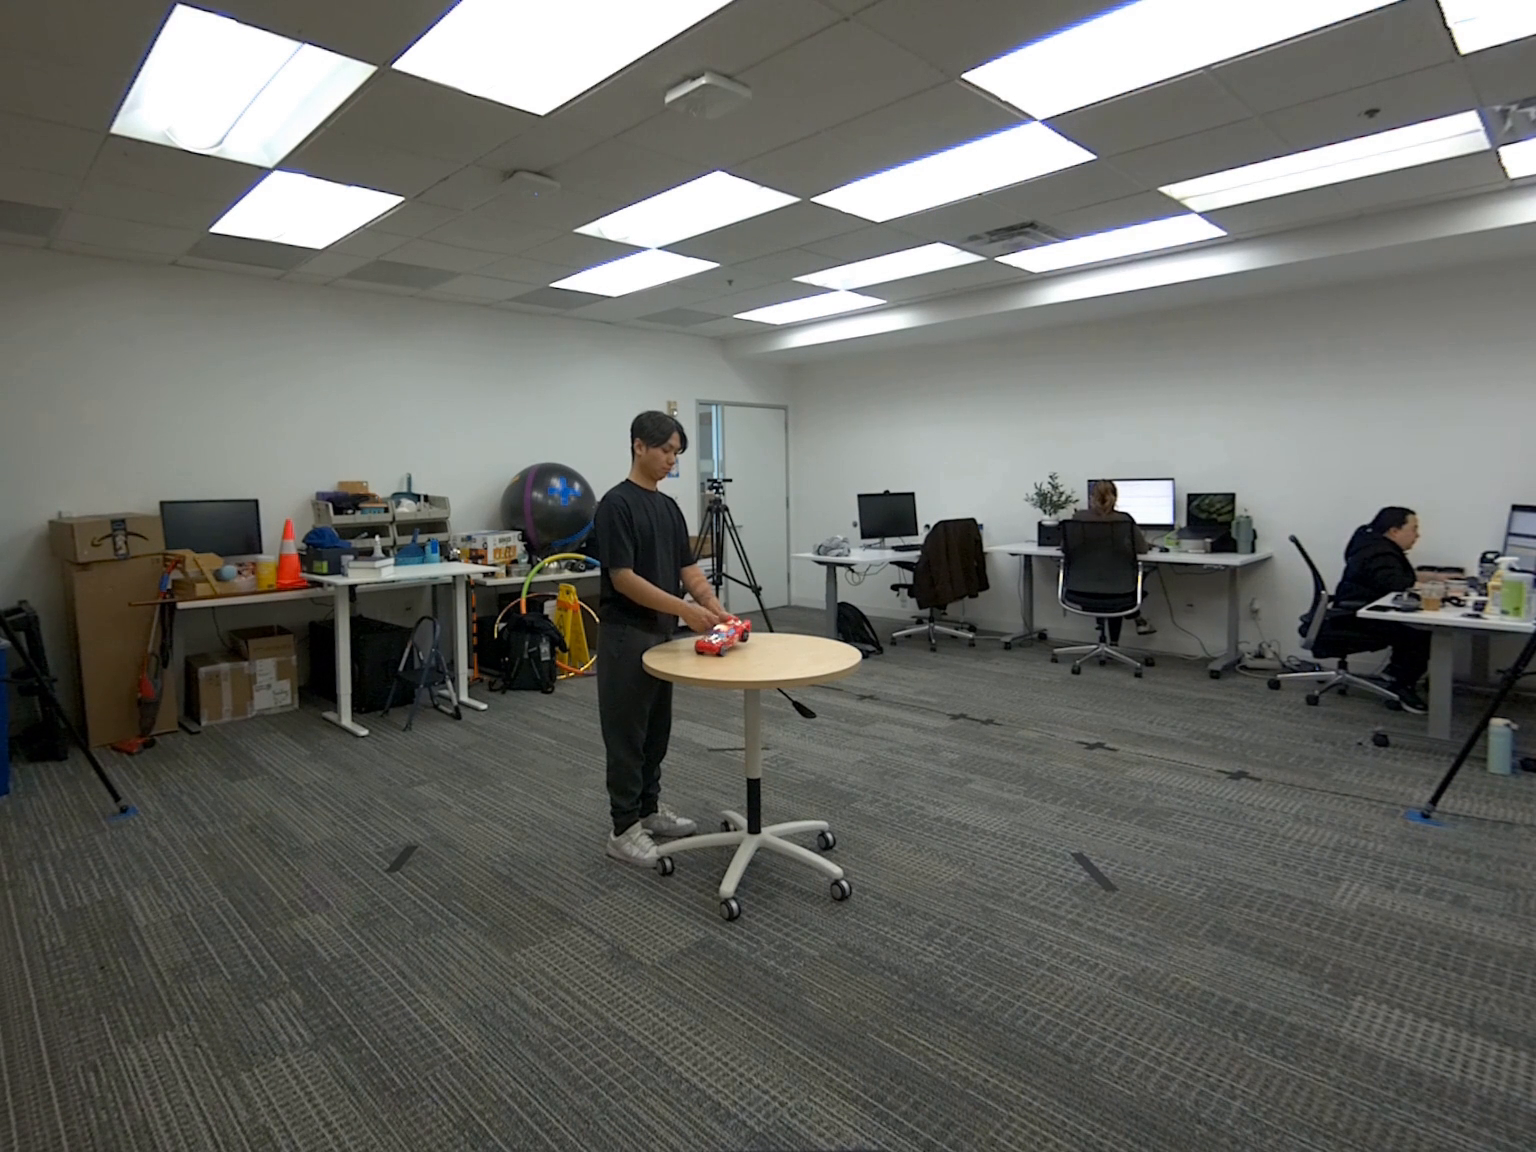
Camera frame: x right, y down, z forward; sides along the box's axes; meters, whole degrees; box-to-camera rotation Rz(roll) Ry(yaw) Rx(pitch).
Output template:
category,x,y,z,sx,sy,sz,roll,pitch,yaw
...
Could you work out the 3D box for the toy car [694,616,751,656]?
category,x,y,z,sx,sy,sz,roll,pitch,yaw
toy car,-0.154,0.223,3.062,0.134,0.081,0.253,1,27,33
